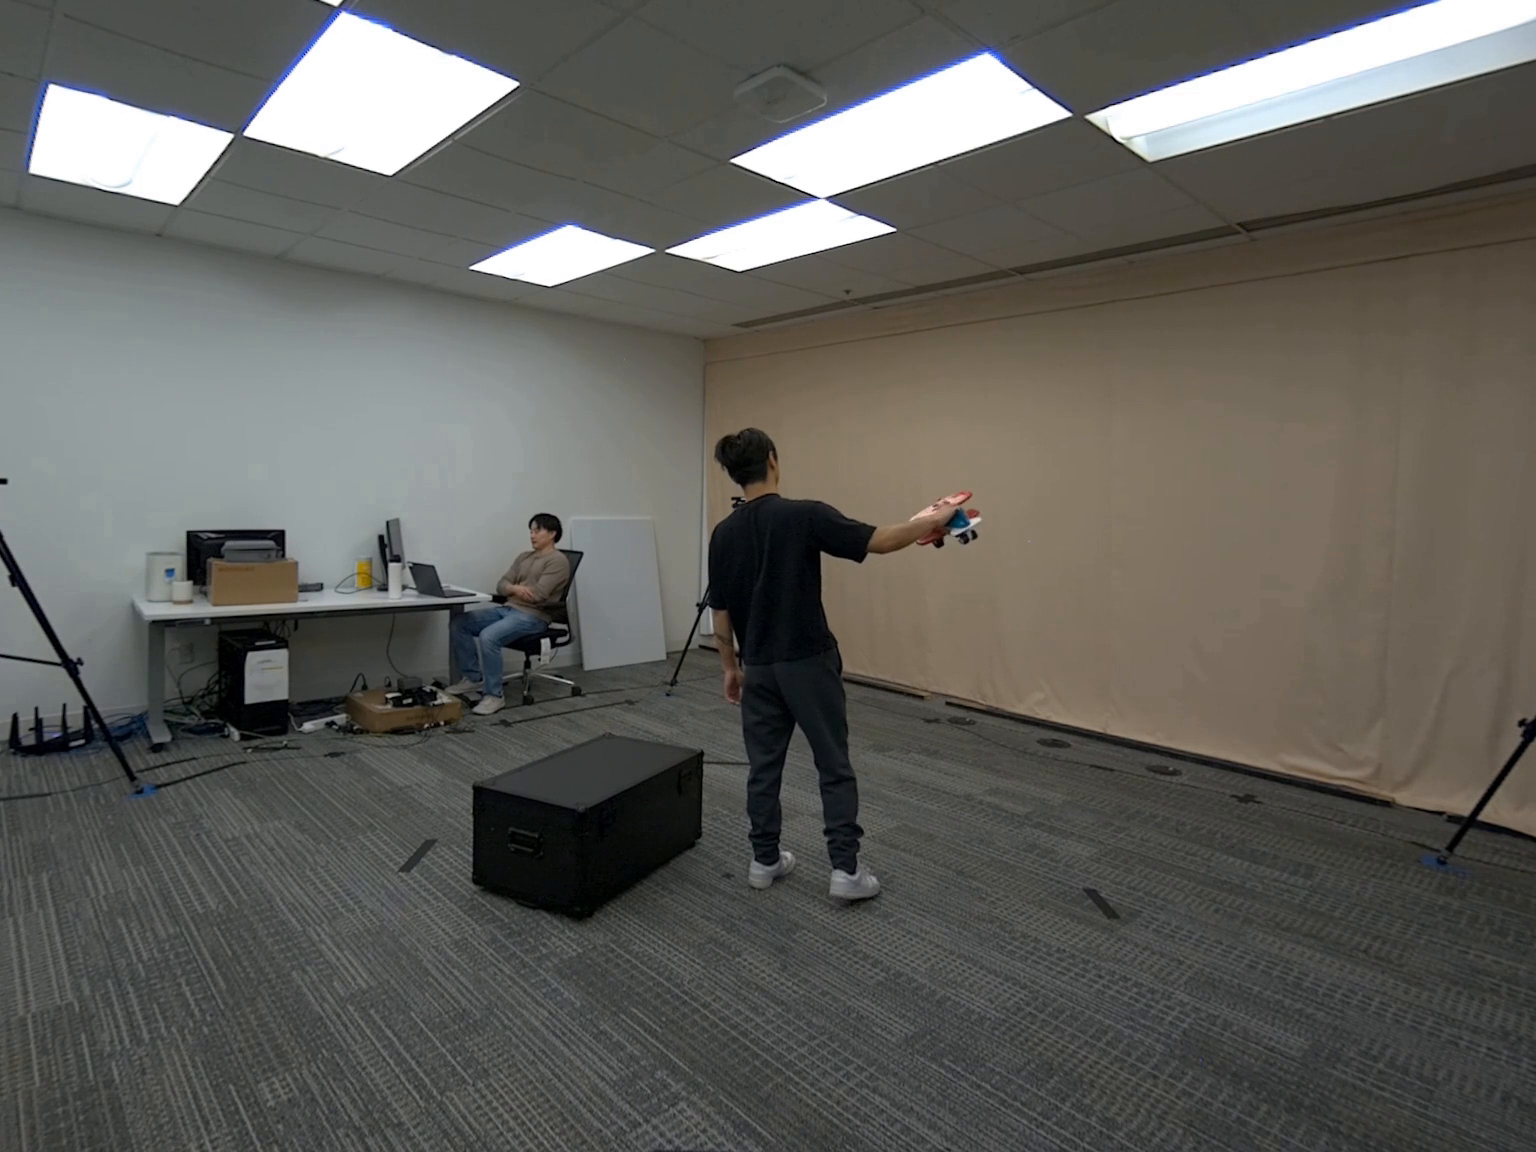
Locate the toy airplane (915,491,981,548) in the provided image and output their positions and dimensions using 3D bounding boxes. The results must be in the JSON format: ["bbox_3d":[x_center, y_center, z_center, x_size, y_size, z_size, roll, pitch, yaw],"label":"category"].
[{"bbox_3d":[0.672,-0.208,3.018,0.249,0.155,0.263,-34,8,-36],"label":"toy airplane"}]
